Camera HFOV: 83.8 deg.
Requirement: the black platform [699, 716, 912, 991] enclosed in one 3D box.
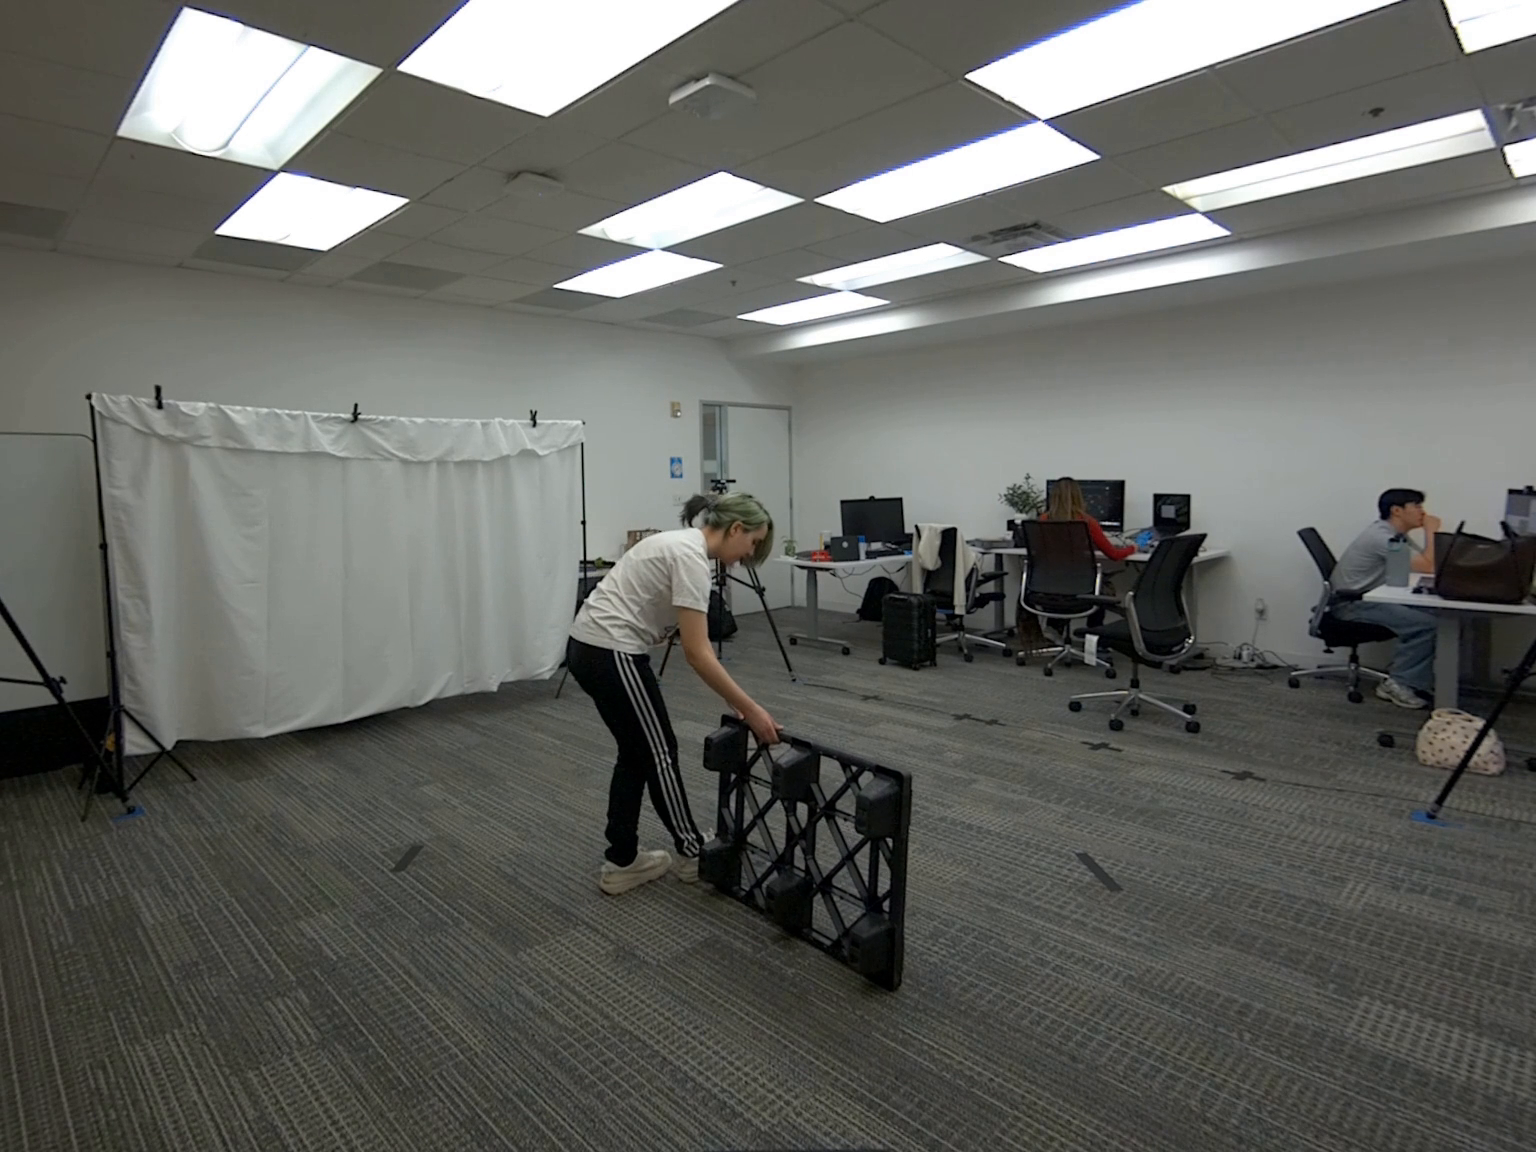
[{"bbox_3d":[0.073,0.805,2.593,0.139,0.605,0.830,3,1,-41],"label":"black platform"}]
